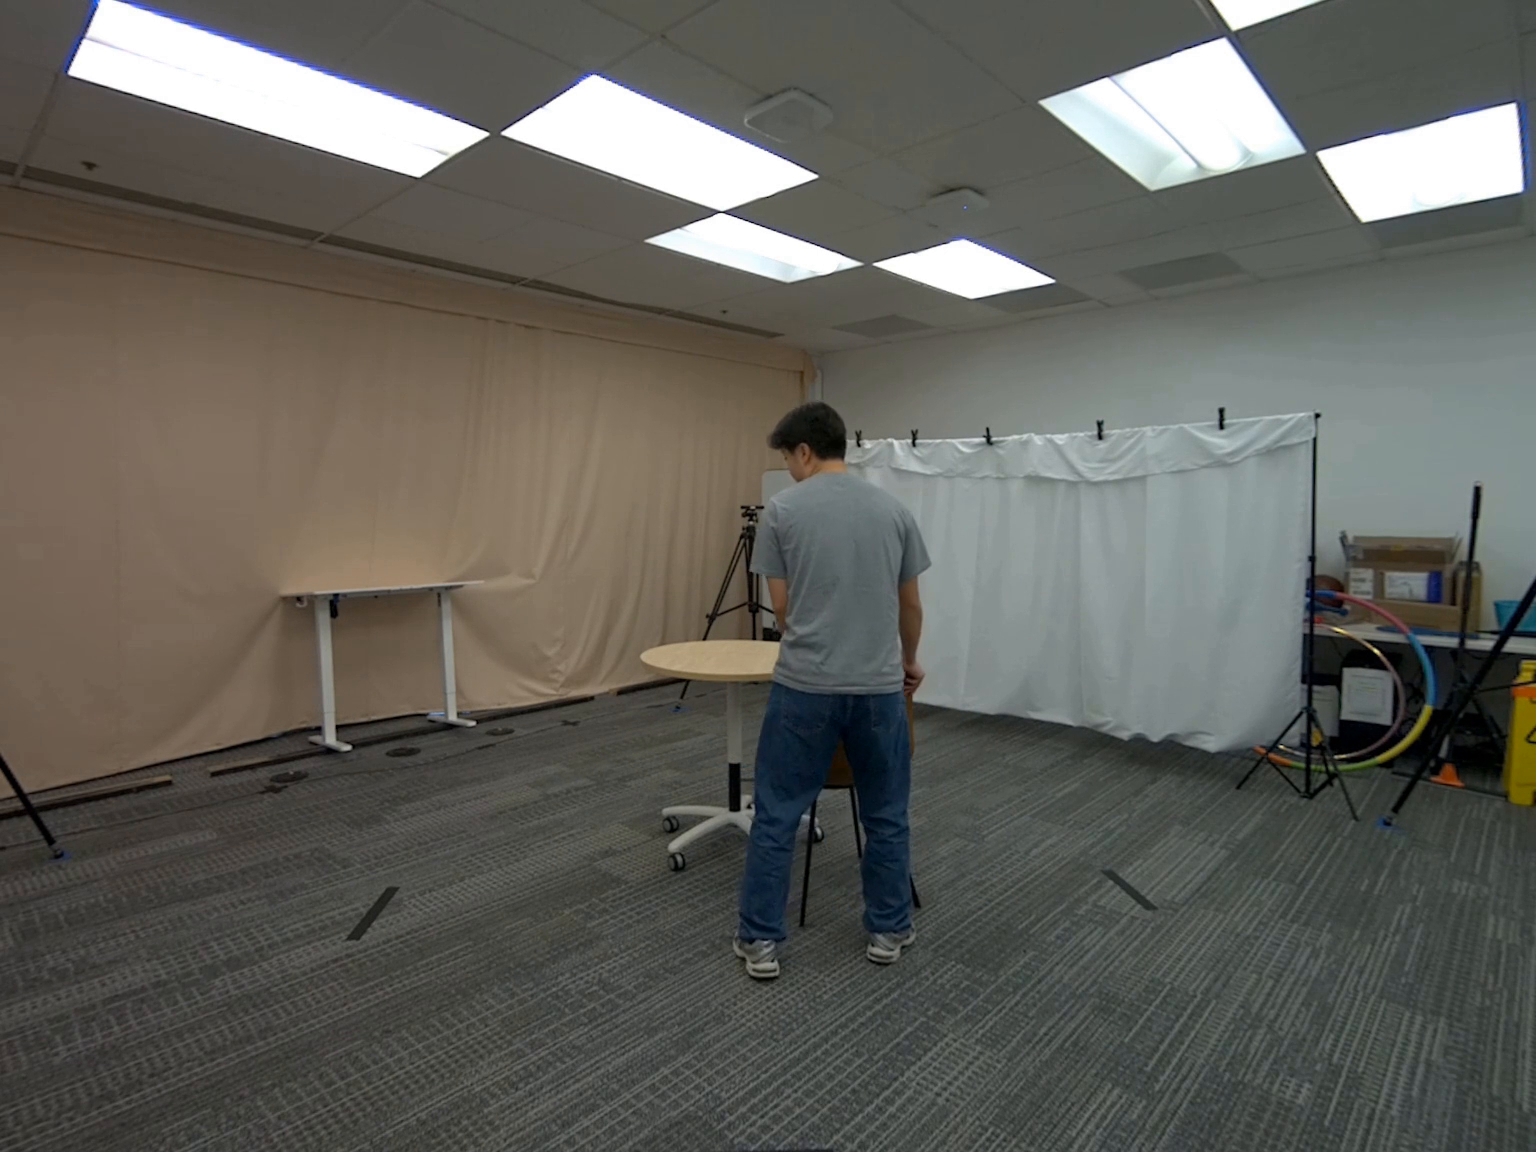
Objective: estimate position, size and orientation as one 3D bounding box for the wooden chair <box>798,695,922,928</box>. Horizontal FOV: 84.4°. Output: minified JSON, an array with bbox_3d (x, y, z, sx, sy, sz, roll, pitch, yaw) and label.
[{"bbox_3d":[0.232,0.709,3.031,0.469,0.873,0.536,-2,8,-20],"label":"wooden chair"}]
